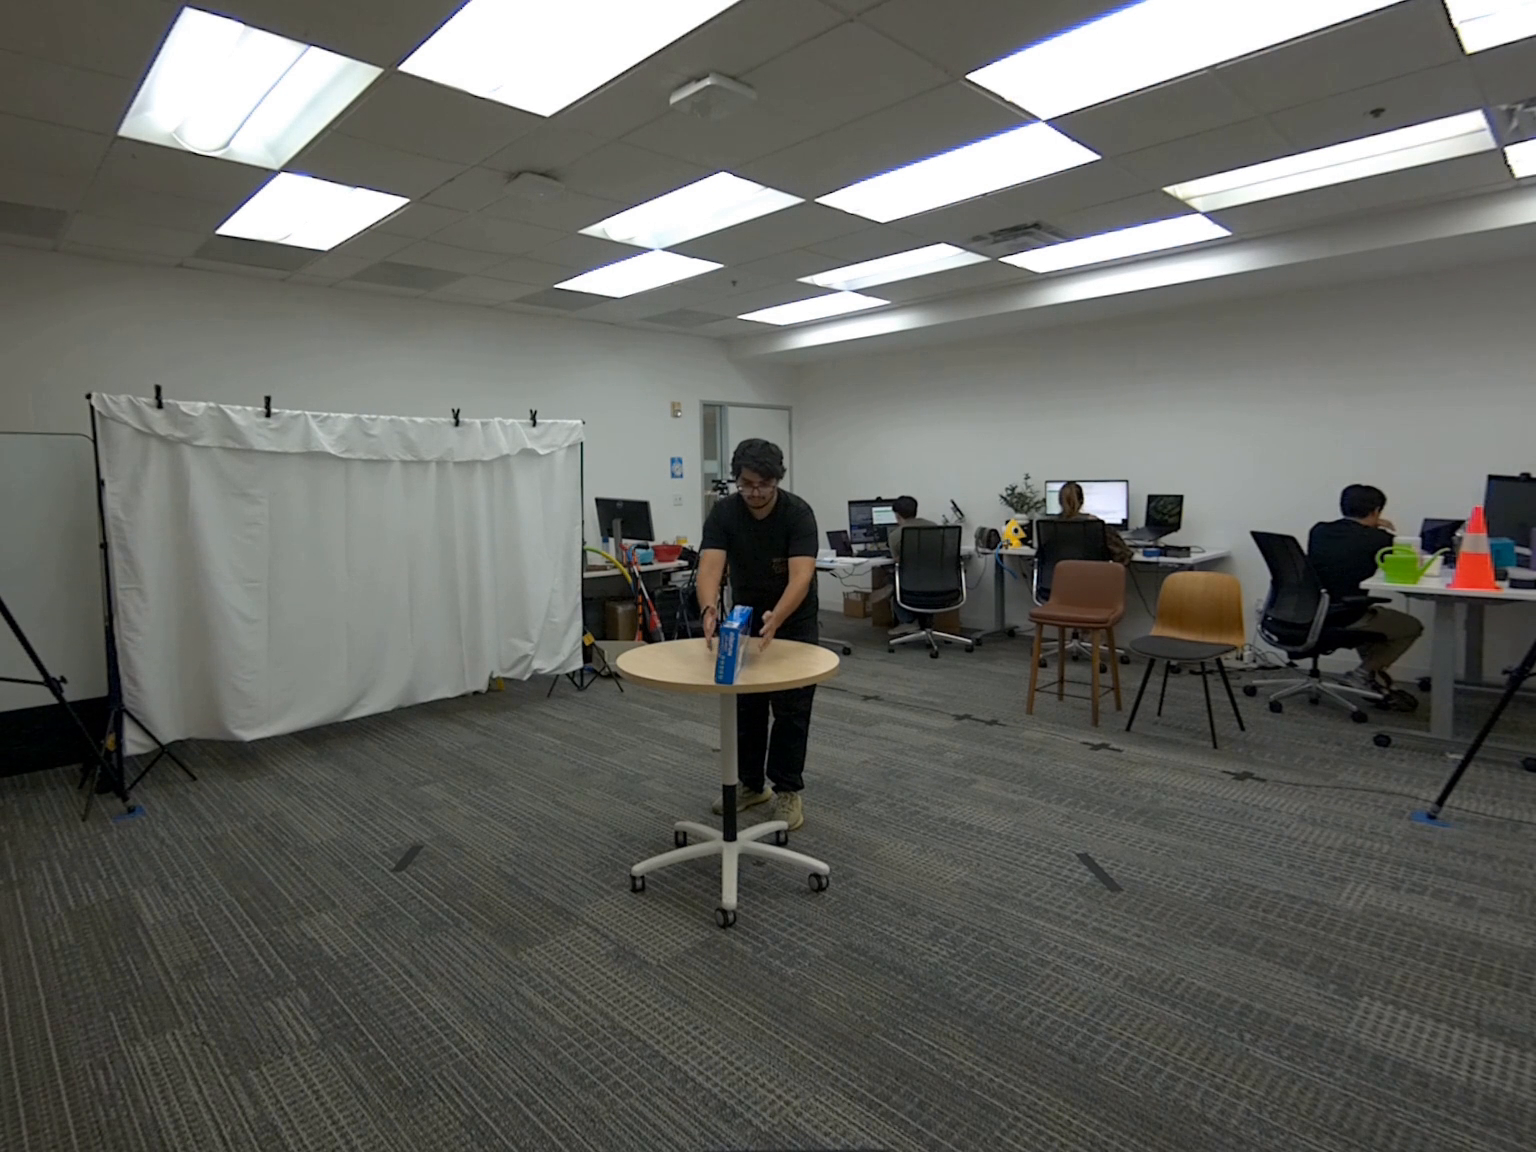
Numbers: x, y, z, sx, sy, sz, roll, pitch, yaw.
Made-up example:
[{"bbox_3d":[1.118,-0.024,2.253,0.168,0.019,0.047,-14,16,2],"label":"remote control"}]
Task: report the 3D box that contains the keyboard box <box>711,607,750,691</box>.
[{"bbox_3d":[-0.119,0.224,2.780,0.059,0.175,0.436,2,7,6],"label":"keyboard box"}]
